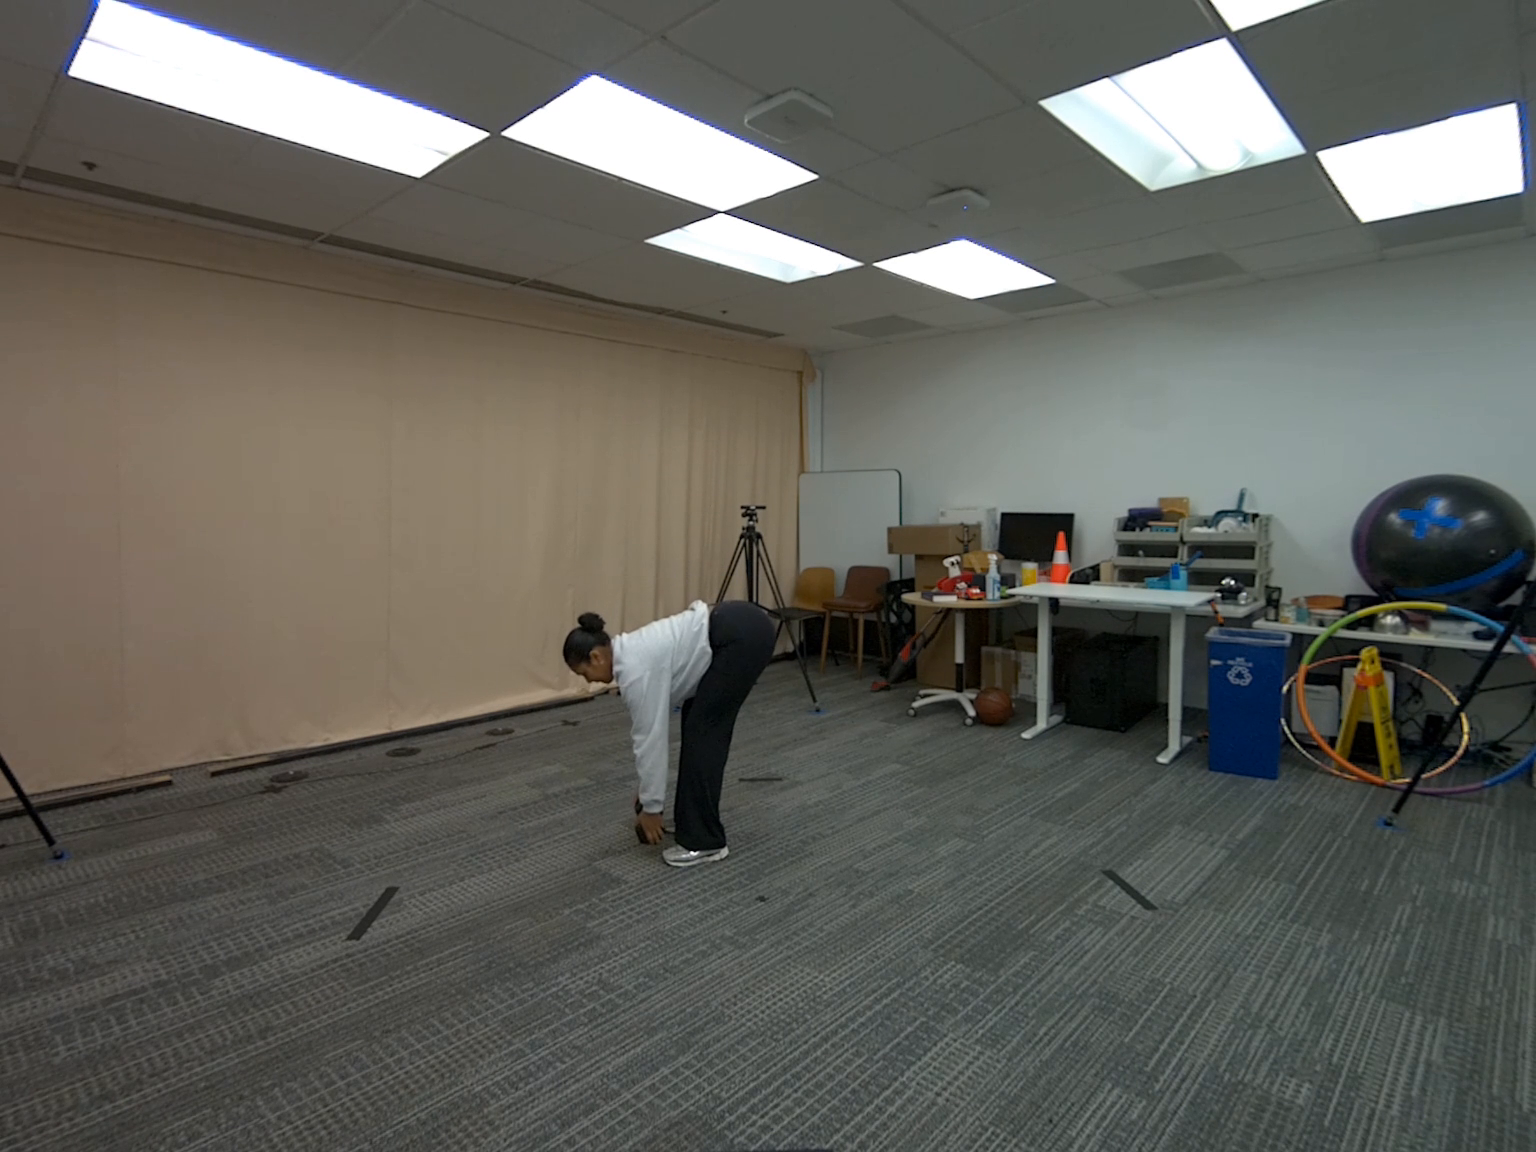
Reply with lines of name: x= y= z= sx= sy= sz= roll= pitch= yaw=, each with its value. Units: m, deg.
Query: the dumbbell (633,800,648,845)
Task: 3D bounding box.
dumbbell: x=-0.465 y=0.988 z=3.459 sx=0.108 sy=0.123 sz=0.296 roll=41 pitch=-1 yaw=-8
